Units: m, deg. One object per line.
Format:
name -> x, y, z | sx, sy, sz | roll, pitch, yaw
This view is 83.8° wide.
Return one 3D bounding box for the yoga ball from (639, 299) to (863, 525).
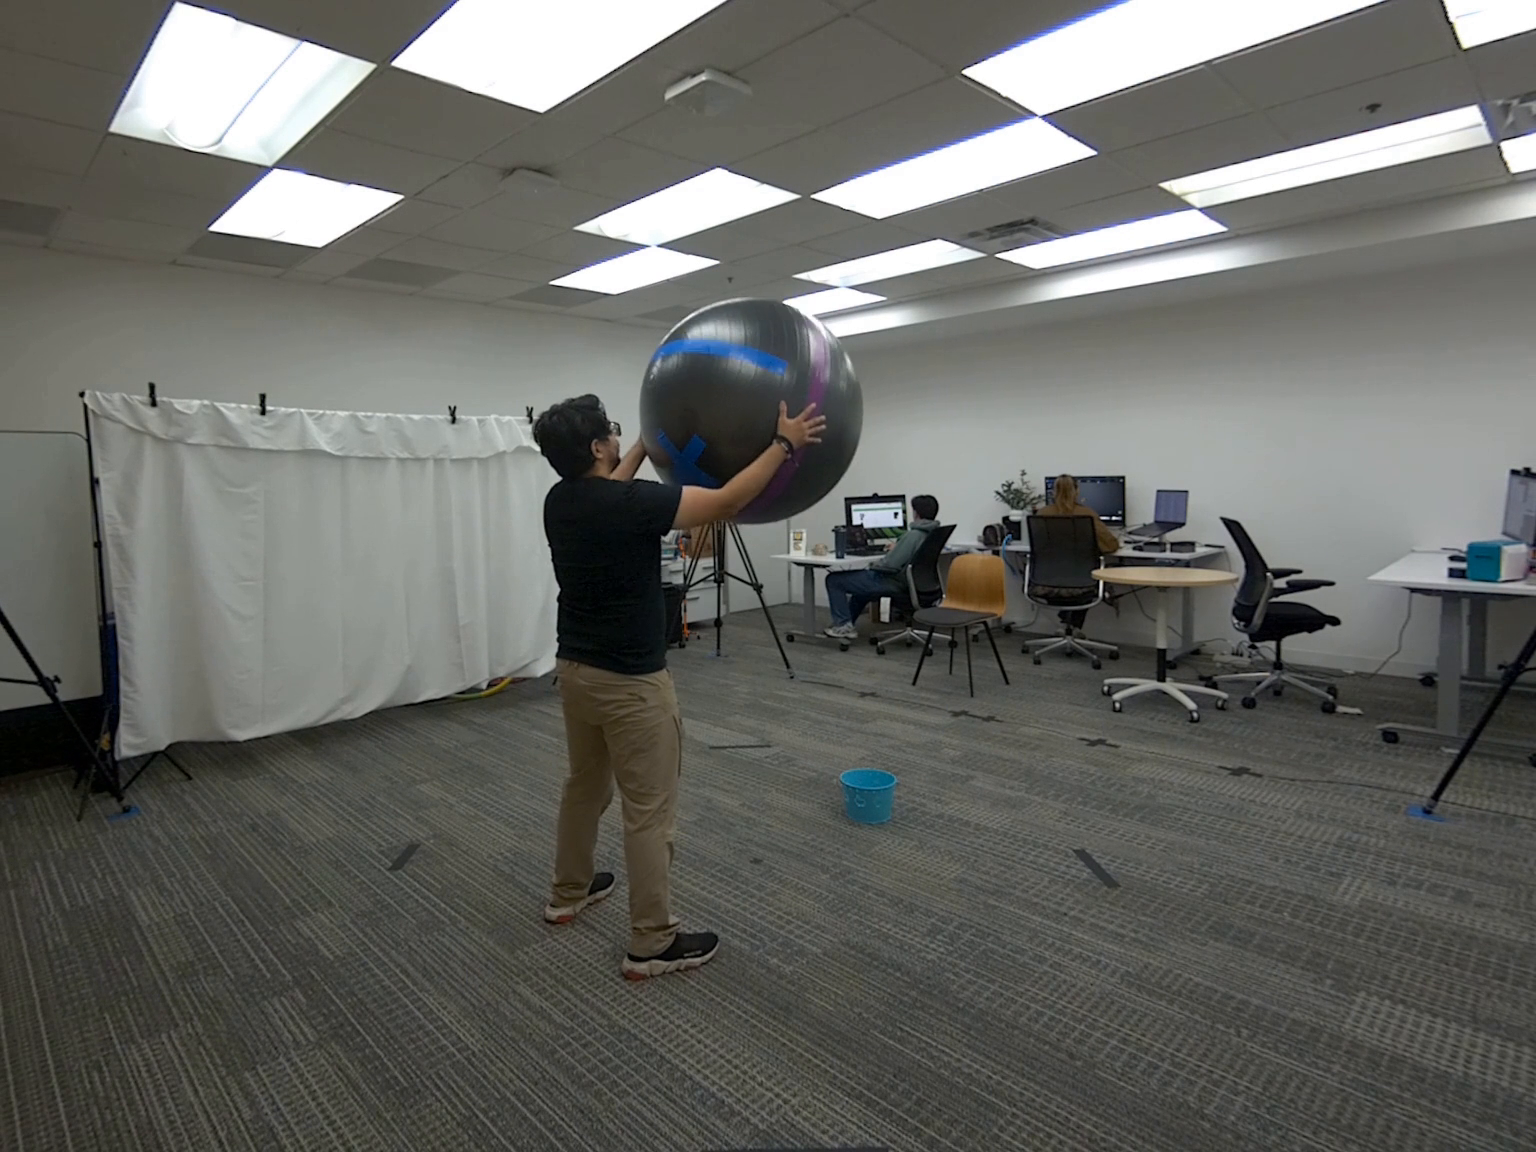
yoga ball -> -0.056, -0.539, 2.899 | 0.757, 0.755, 0.762 | -1, 5, -2
